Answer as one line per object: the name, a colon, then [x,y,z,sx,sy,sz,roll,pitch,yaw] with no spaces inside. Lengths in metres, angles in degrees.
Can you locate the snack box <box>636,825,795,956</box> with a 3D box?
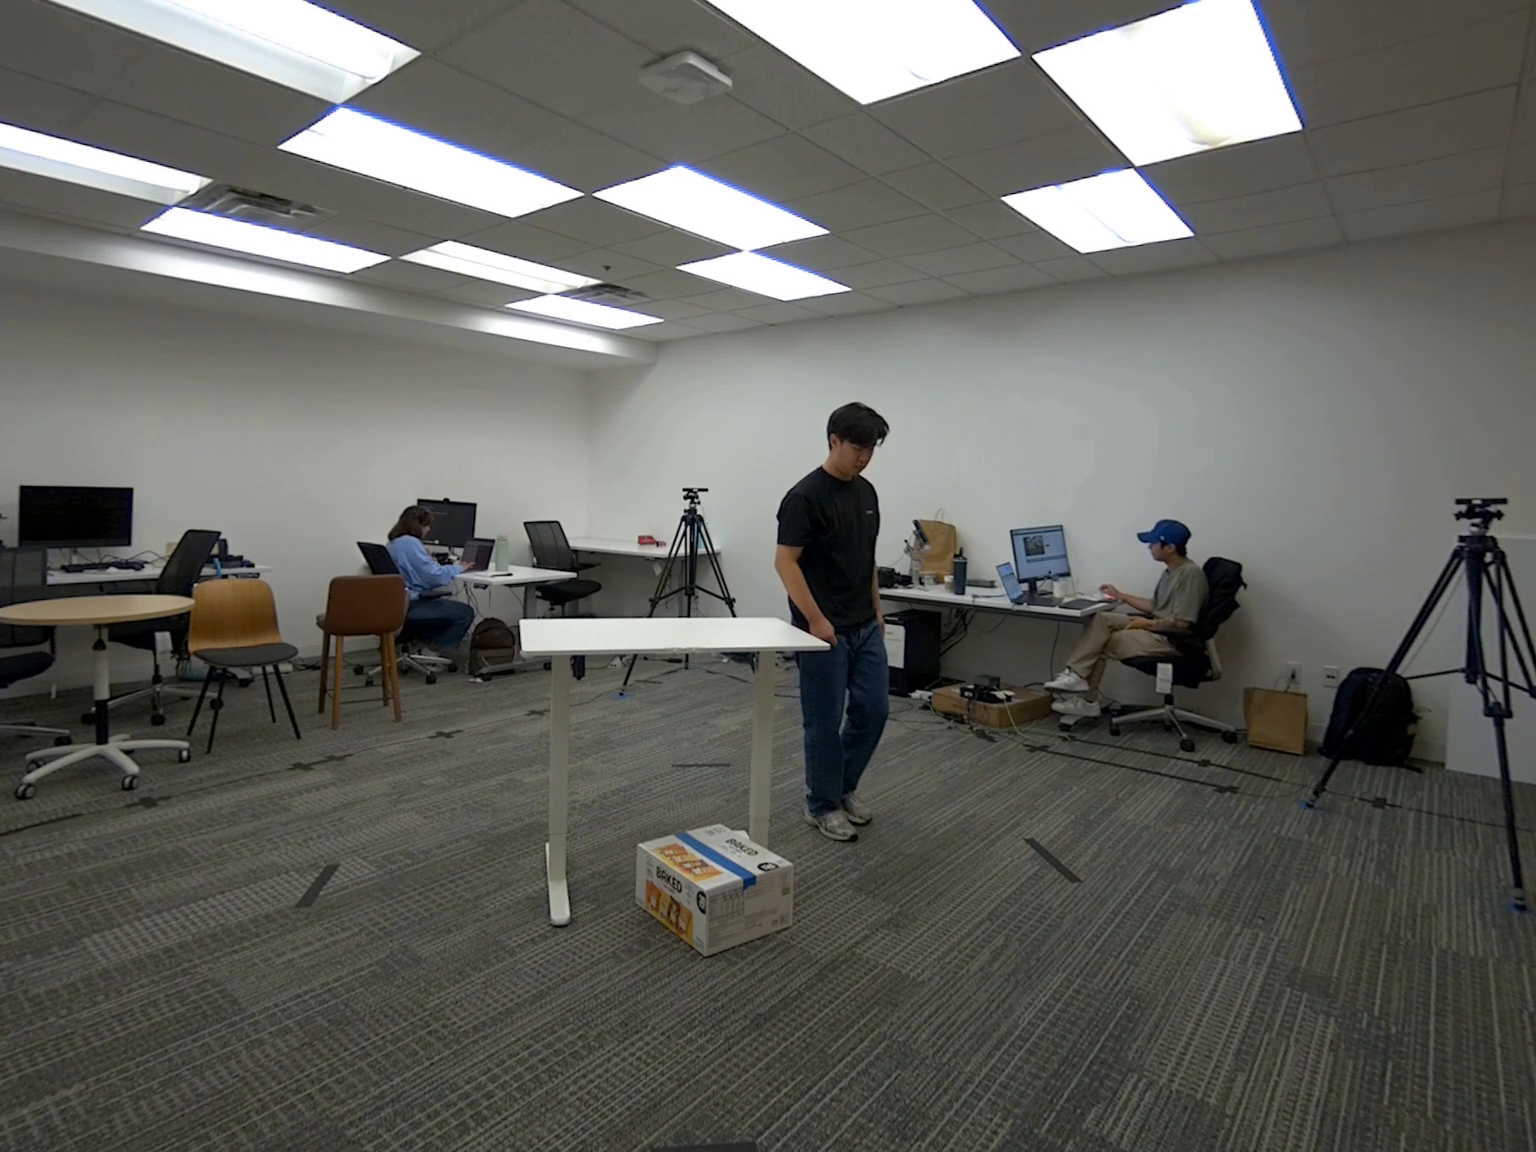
snack box: [-0.187,1.002,2.762,0.330,0.205,0.419,-2,6,-37]
